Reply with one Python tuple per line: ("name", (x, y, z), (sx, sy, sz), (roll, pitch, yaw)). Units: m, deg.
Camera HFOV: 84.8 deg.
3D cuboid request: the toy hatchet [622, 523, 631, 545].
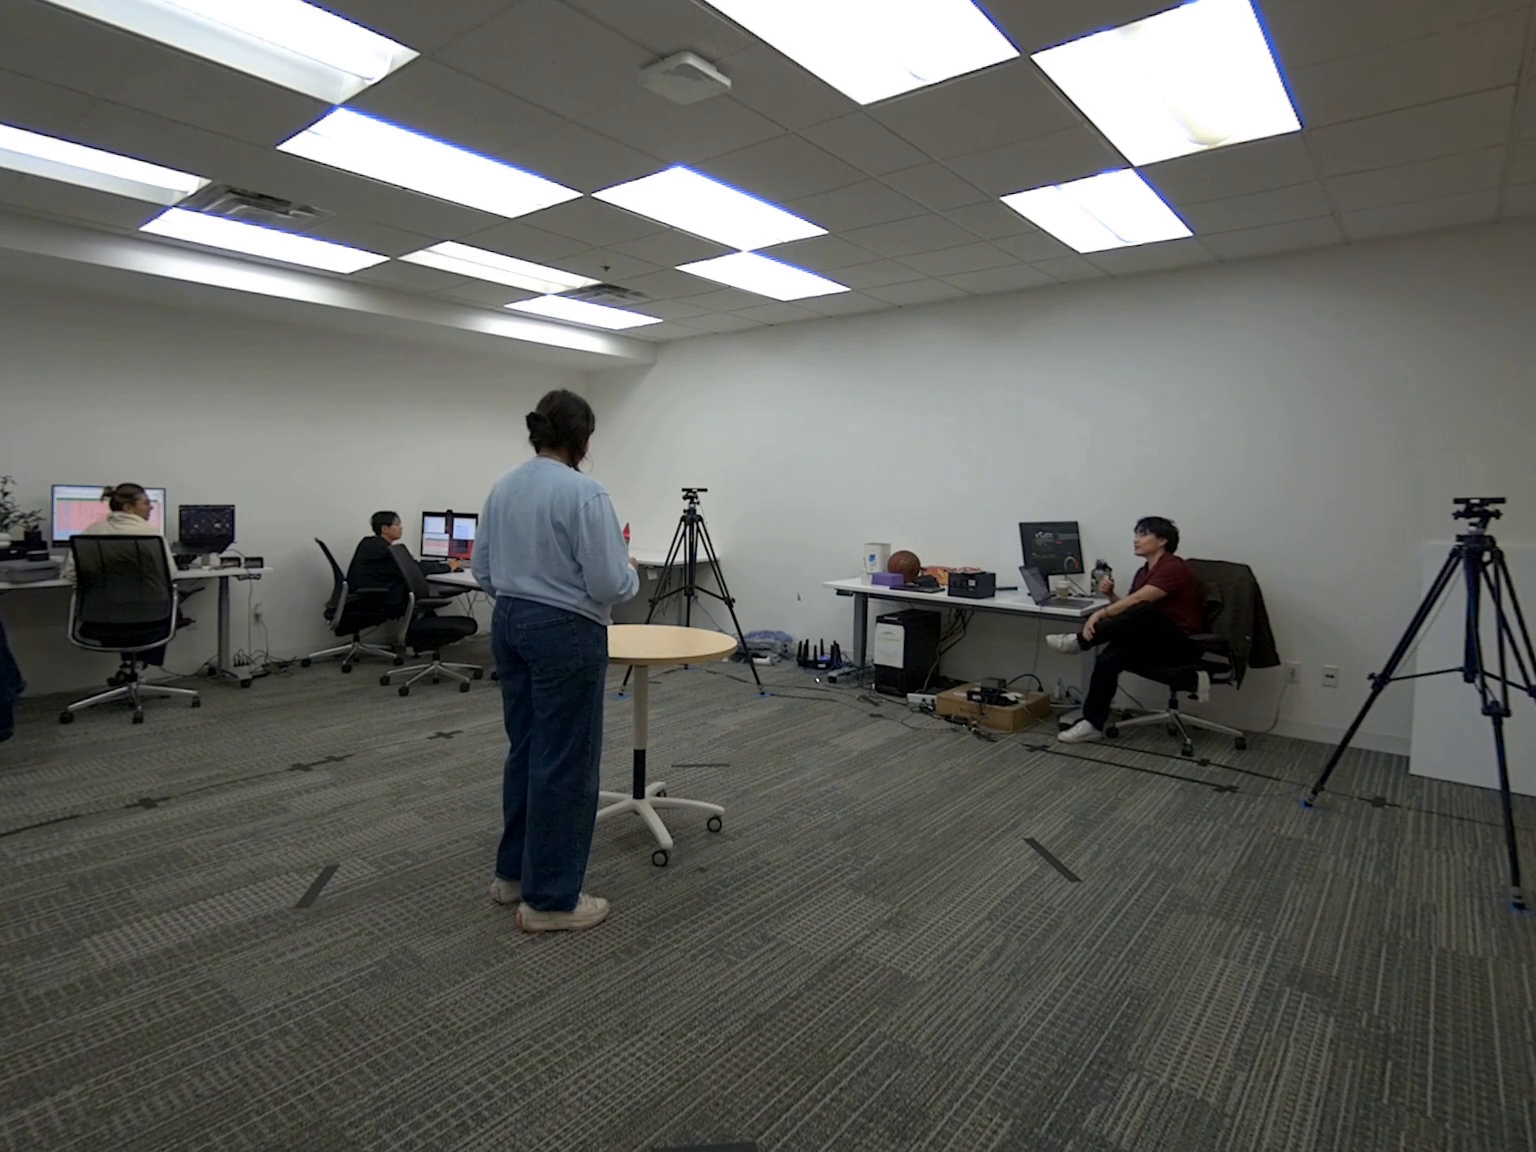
("toy hatchet", (-0.526, -0.055, 3.027), (0.029, 0.128, 0.278), (7, 45, -12))
